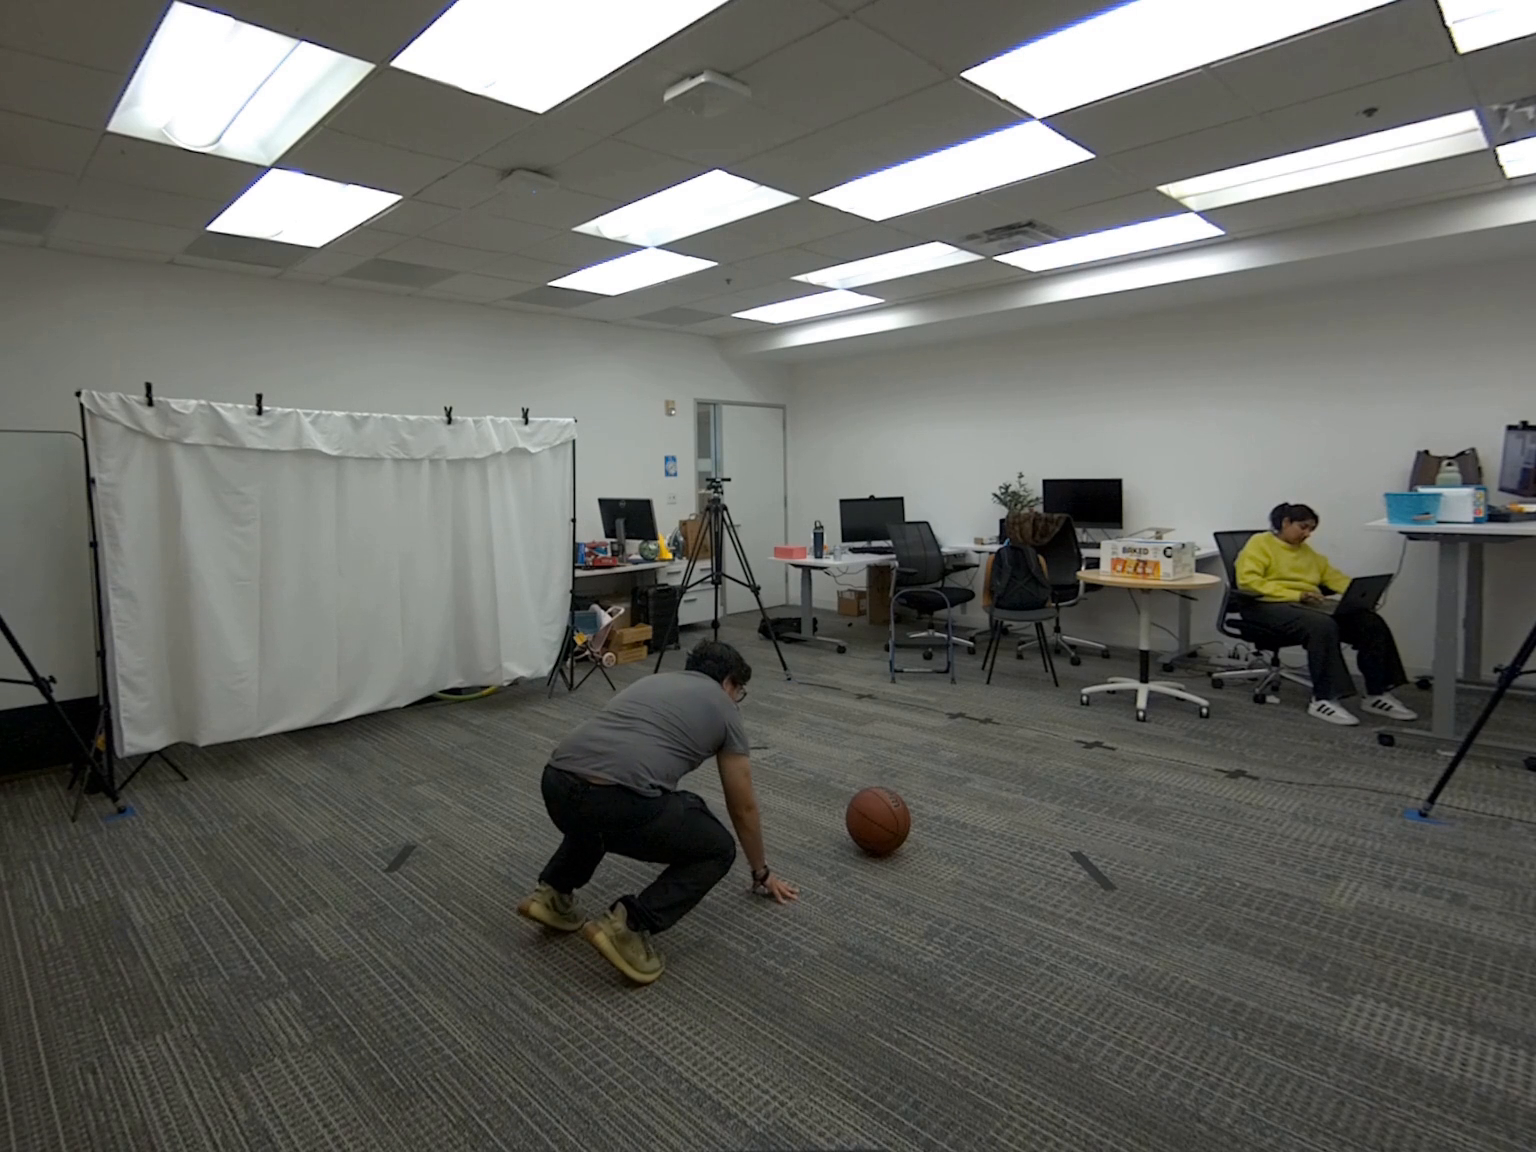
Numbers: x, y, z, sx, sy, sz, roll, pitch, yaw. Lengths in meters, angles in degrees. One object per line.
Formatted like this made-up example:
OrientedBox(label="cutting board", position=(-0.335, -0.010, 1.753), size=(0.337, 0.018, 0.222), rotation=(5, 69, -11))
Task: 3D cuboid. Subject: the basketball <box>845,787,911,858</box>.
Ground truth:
OrientedBox(label="basketball", position=(0.414, 0.907, 3.177), size=(0.236, 0.235, 0.237), rotation=(-1, 5, -2))
